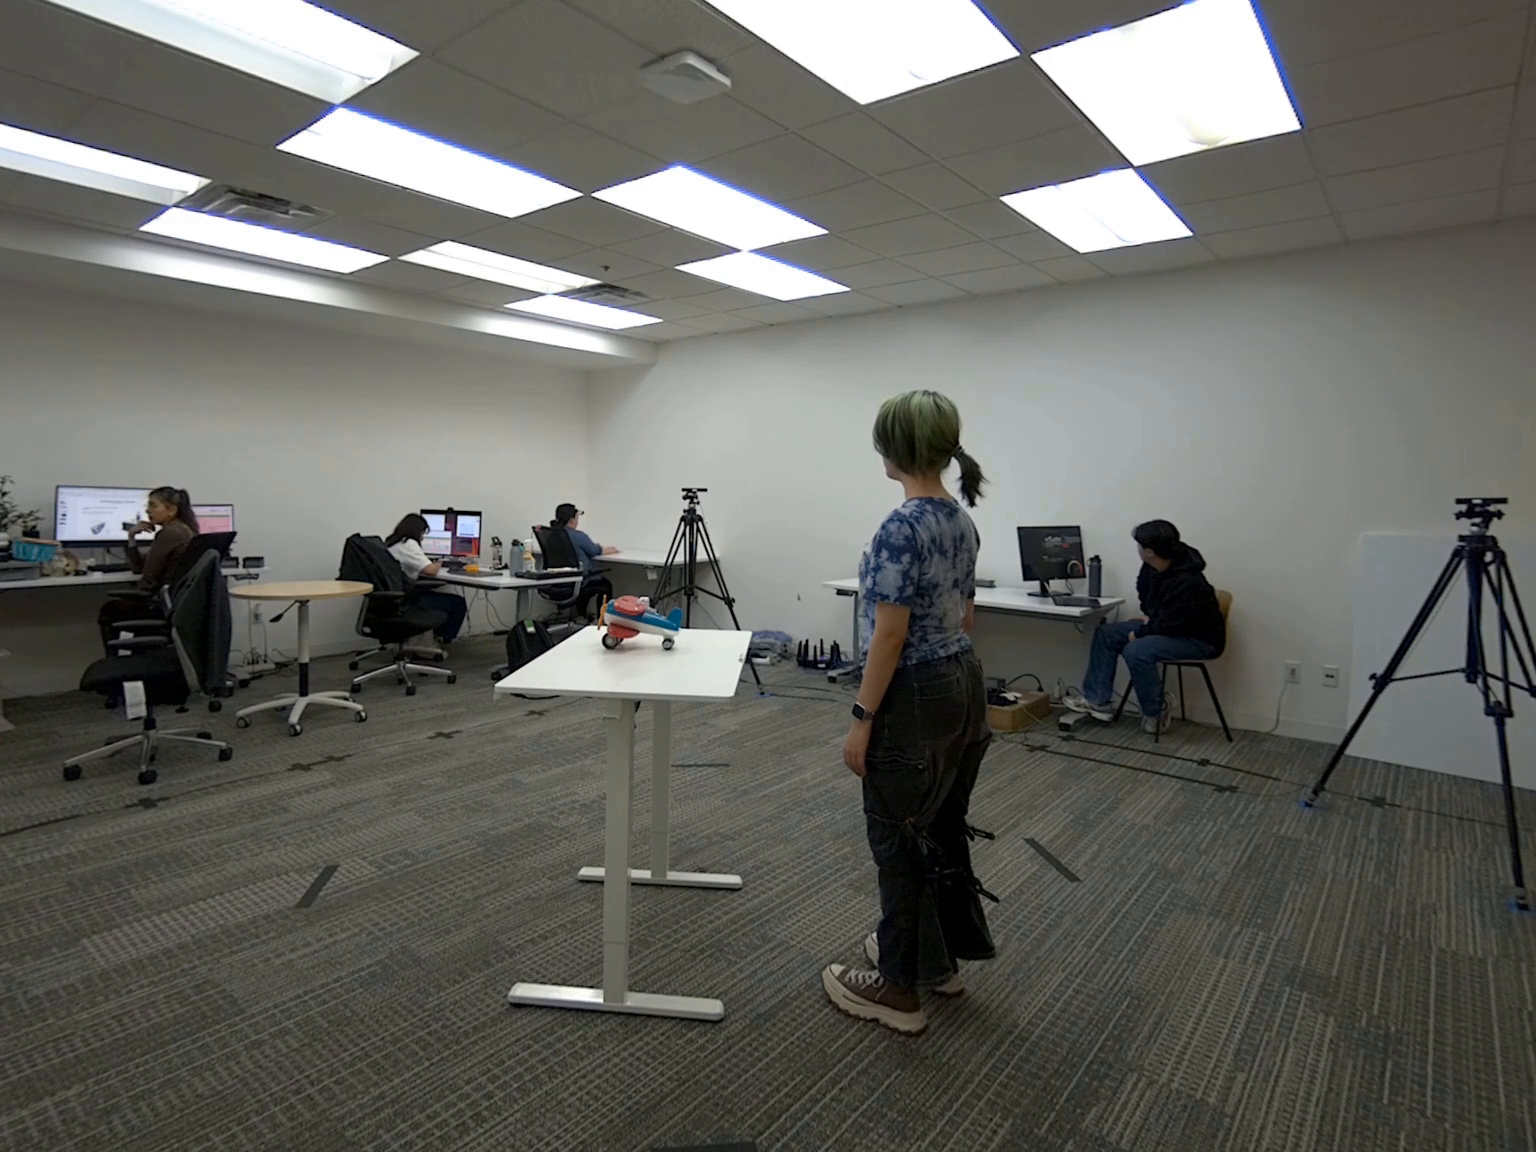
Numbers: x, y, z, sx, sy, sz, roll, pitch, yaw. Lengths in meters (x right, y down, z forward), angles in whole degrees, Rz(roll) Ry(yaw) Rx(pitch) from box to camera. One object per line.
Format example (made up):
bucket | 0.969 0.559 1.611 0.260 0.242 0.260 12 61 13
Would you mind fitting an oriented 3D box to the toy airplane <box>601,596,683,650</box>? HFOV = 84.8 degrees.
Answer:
toy airplane | -0.414 0.148 2.716 0.253 0.156 0.258 -2 5 -26
